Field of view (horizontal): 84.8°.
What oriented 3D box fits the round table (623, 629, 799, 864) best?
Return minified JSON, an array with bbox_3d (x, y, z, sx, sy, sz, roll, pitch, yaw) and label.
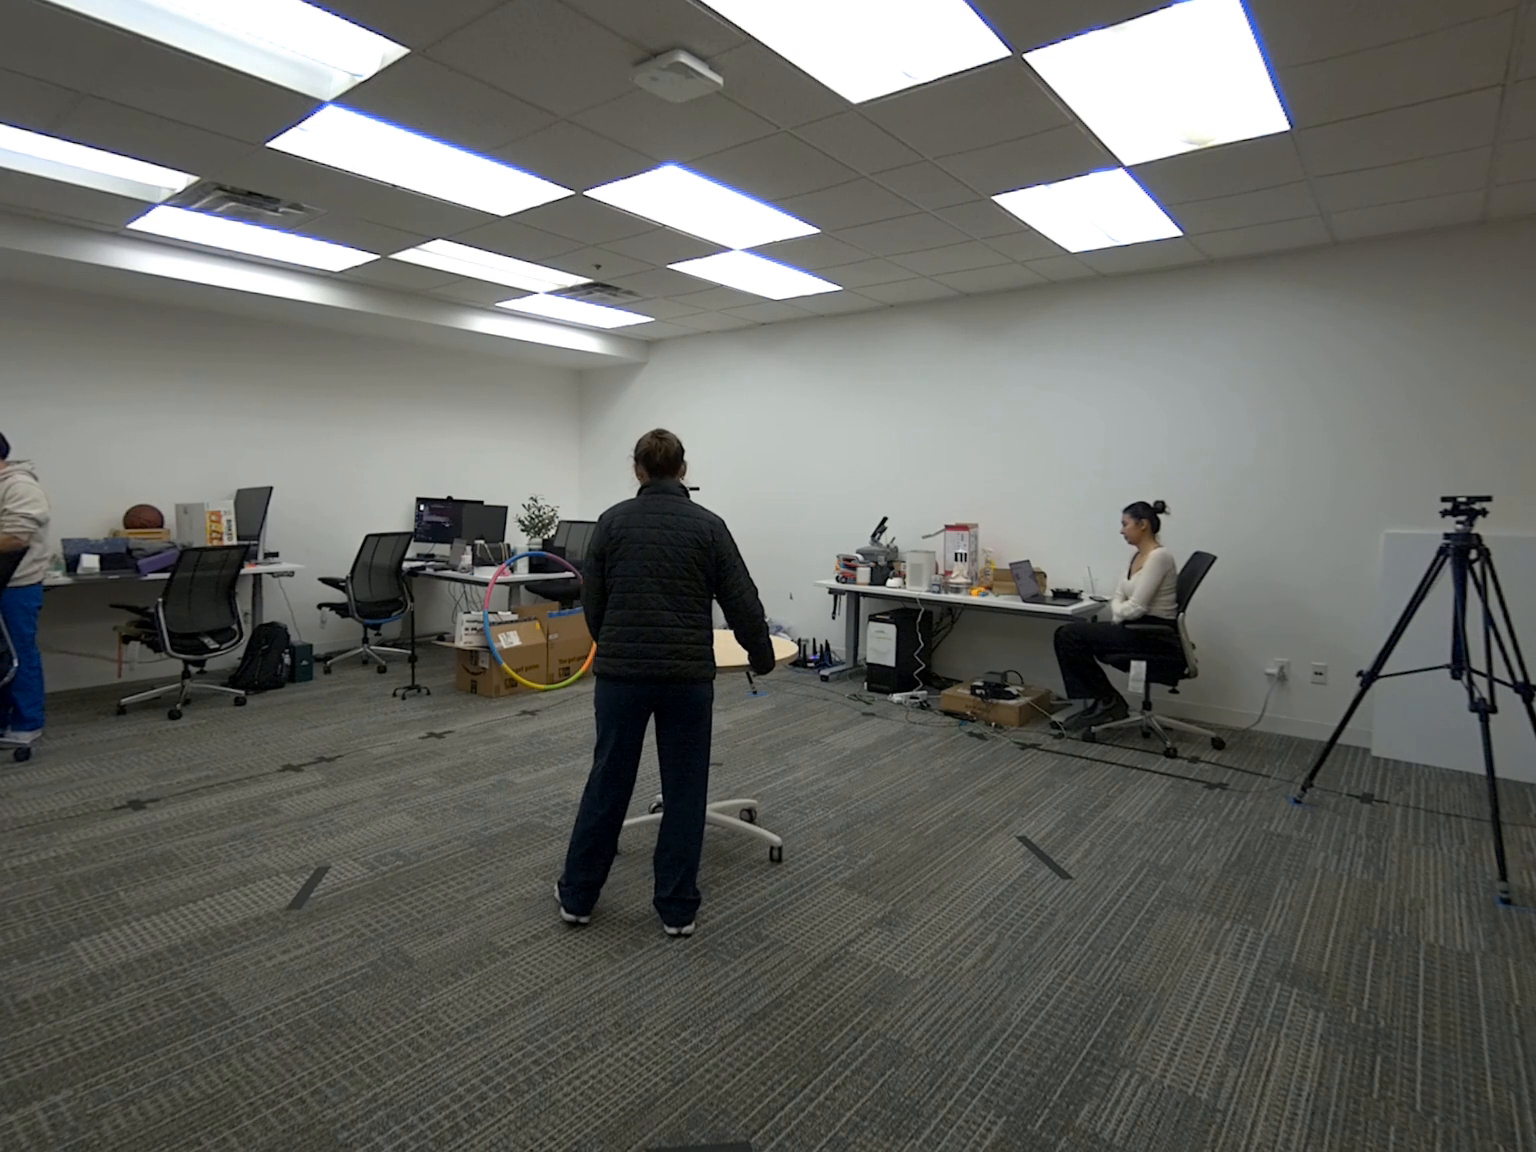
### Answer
[{"bbox_3d":[-0.258,0.650,3.309,0.784,0.784,0.789,1,4,-2],"label":"round table"}]
